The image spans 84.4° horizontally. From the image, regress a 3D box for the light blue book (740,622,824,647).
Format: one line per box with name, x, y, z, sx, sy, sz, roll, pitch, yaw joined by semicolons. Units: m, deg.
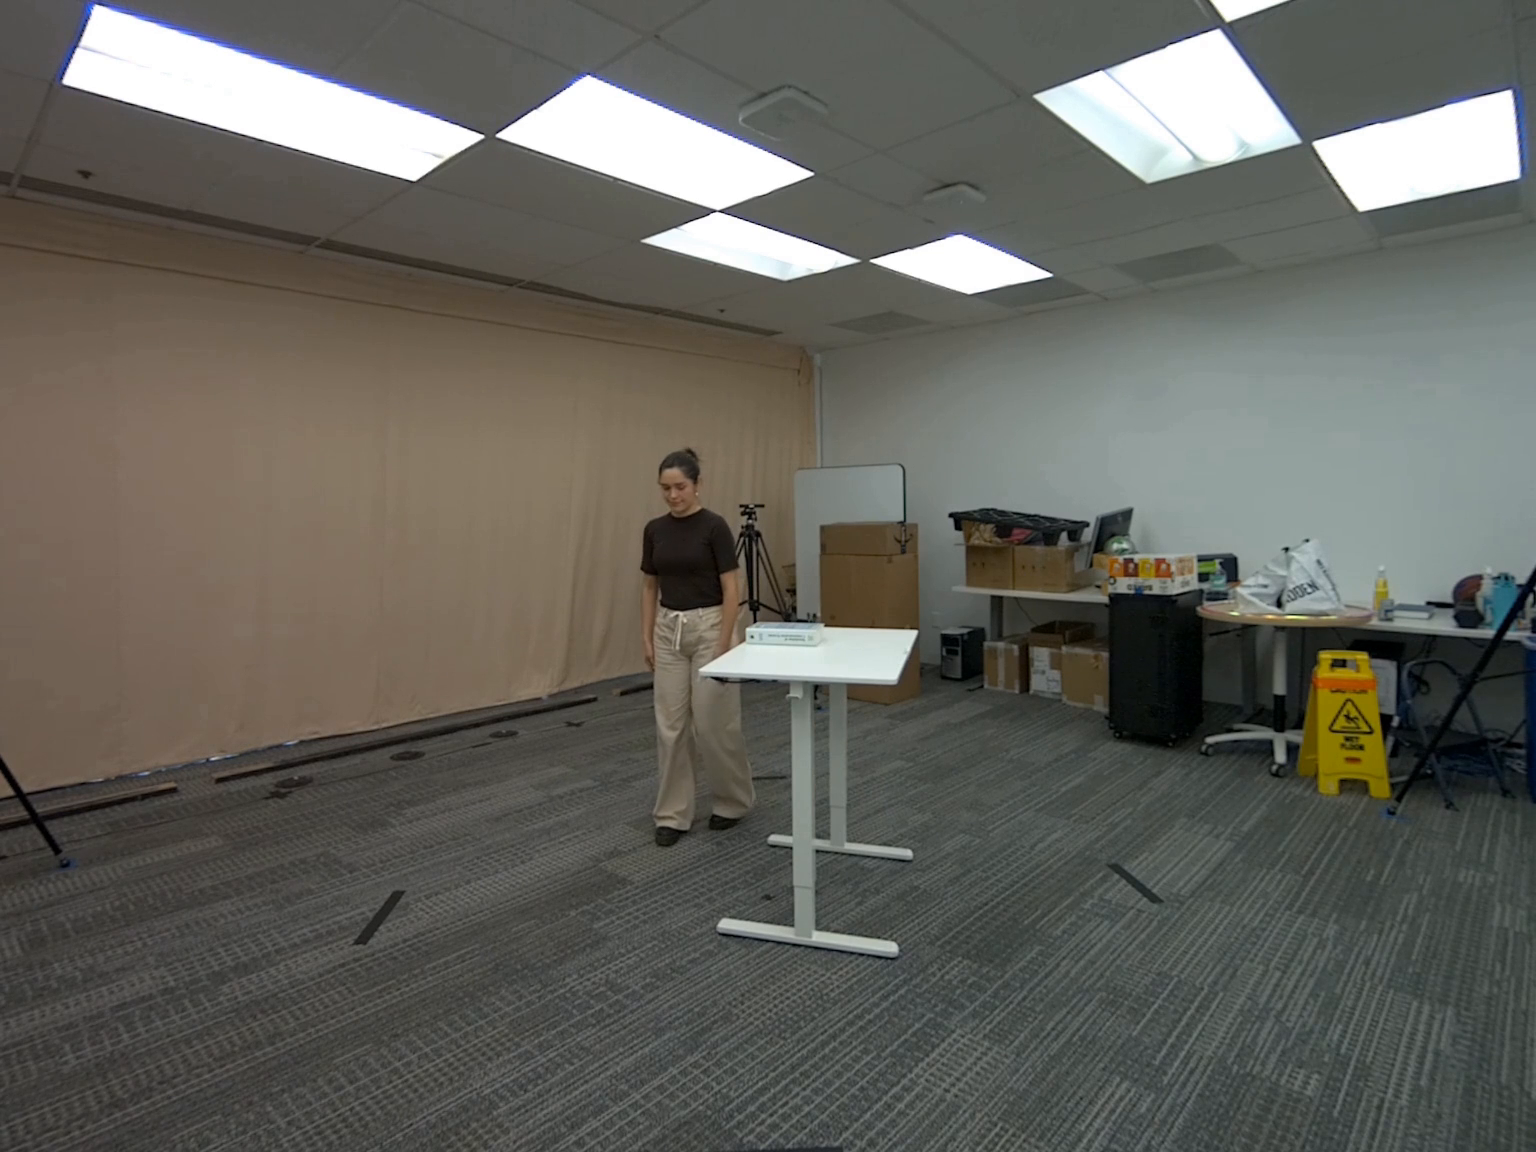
light blue book;0.071;0.214;3.131;0.265;0.059;0.188;0;4;16
